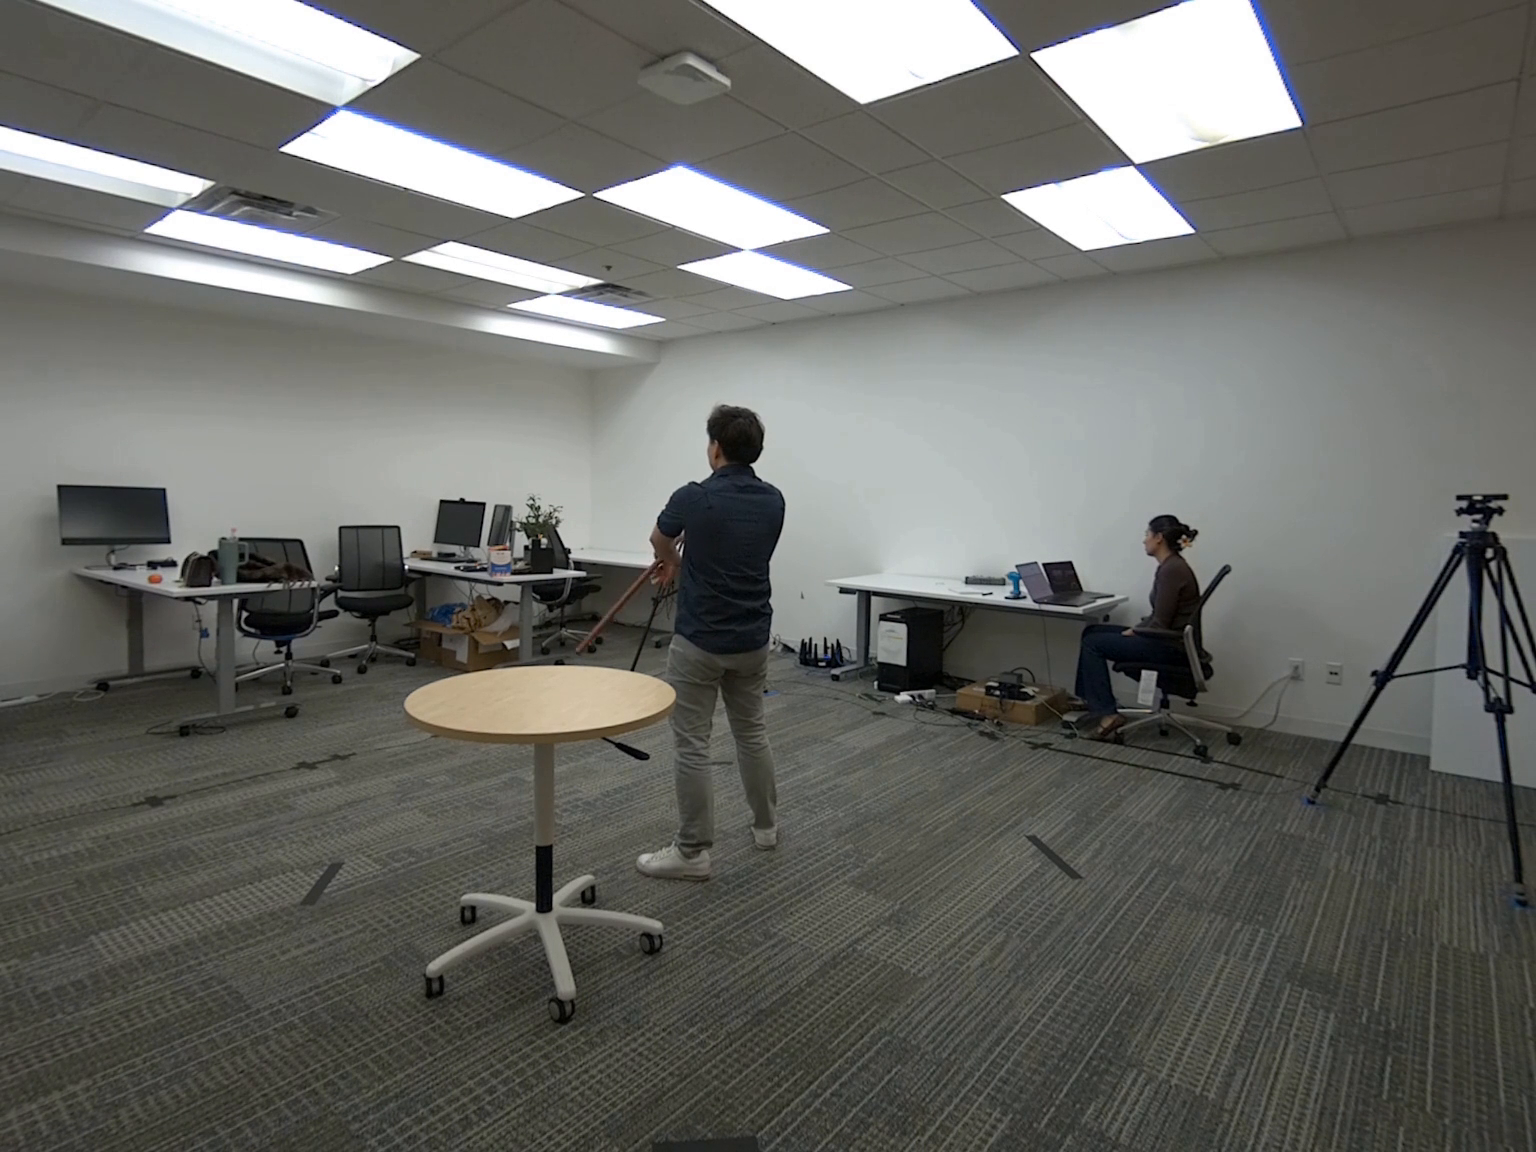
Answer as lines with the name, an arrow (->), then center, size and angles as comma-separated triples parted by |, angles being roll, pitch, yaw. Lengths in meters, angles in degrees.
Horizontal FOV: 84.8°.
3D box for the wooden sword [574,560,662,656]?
wooden sword -> -0.469, -0.046, 3.458 | 0.052, 0.023, 1.027 | -11, 36, 53
